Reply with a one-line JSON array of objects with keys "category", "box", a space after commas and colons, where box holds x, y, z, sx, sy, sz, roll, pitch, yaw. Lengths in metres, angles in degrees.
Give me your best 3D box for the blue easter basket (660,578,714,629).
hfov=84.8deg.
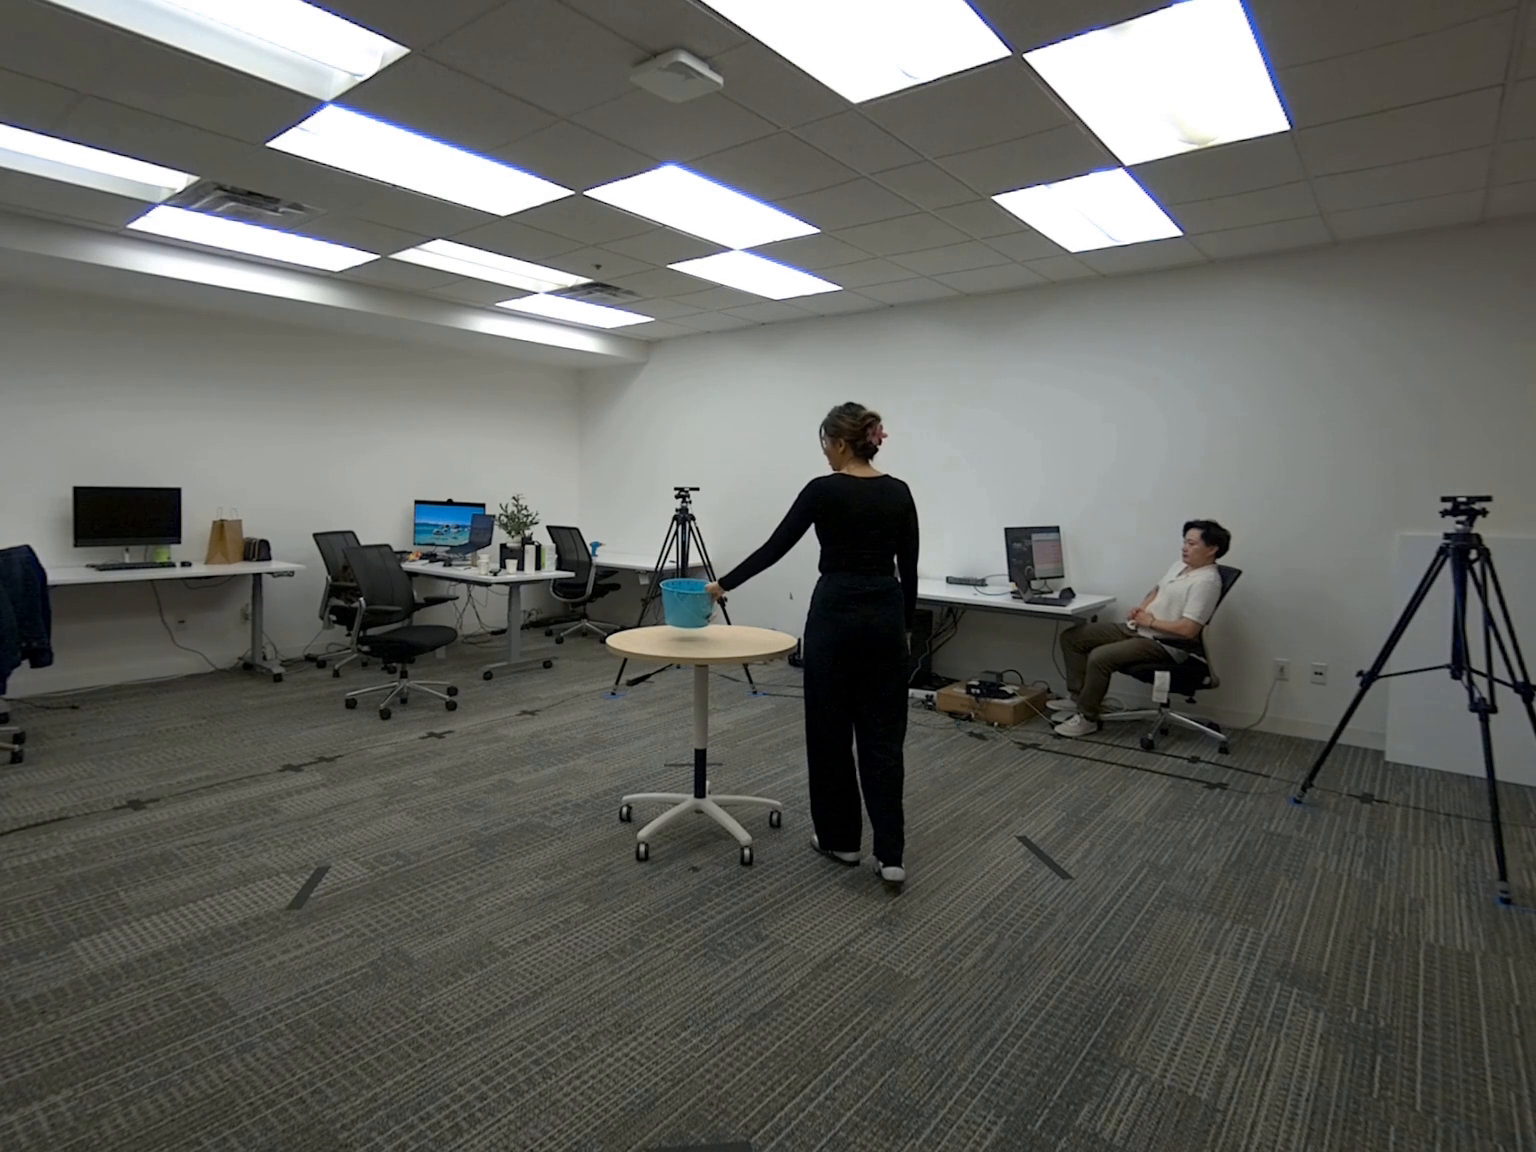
[{"category": "blue easter basket", "box": [-0.316, 0.114, 3.408, 0.243, 0.154, 0.246, 3, 11, -2]}]
